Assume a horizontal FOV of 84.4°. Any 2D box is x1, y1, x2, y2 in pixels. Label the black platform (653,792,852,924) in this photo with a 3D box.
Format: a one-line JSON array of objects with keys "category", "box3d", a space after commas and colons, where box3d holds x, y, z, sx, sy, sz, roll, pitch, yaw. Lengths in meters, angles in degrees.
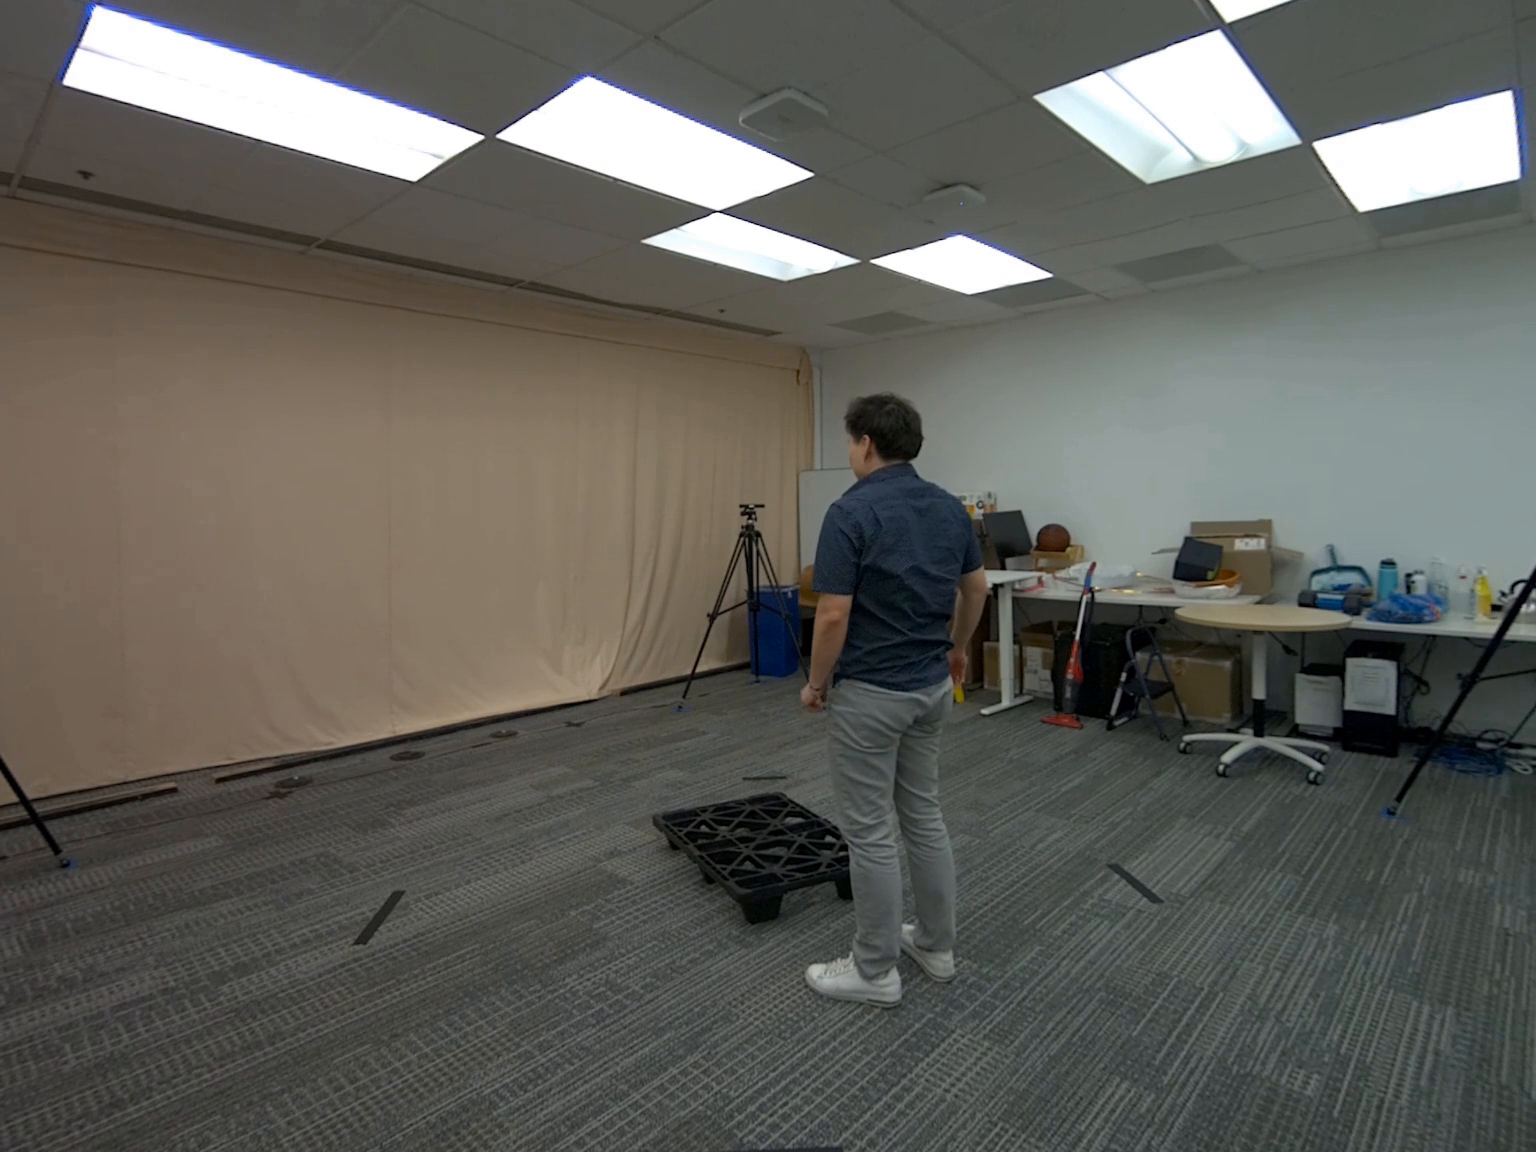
[{"category": "black platform", "box3d": [-0.018, 1.053, 3.216, 0.590, 0.143, 0.828, -3, 5, -27]}]
